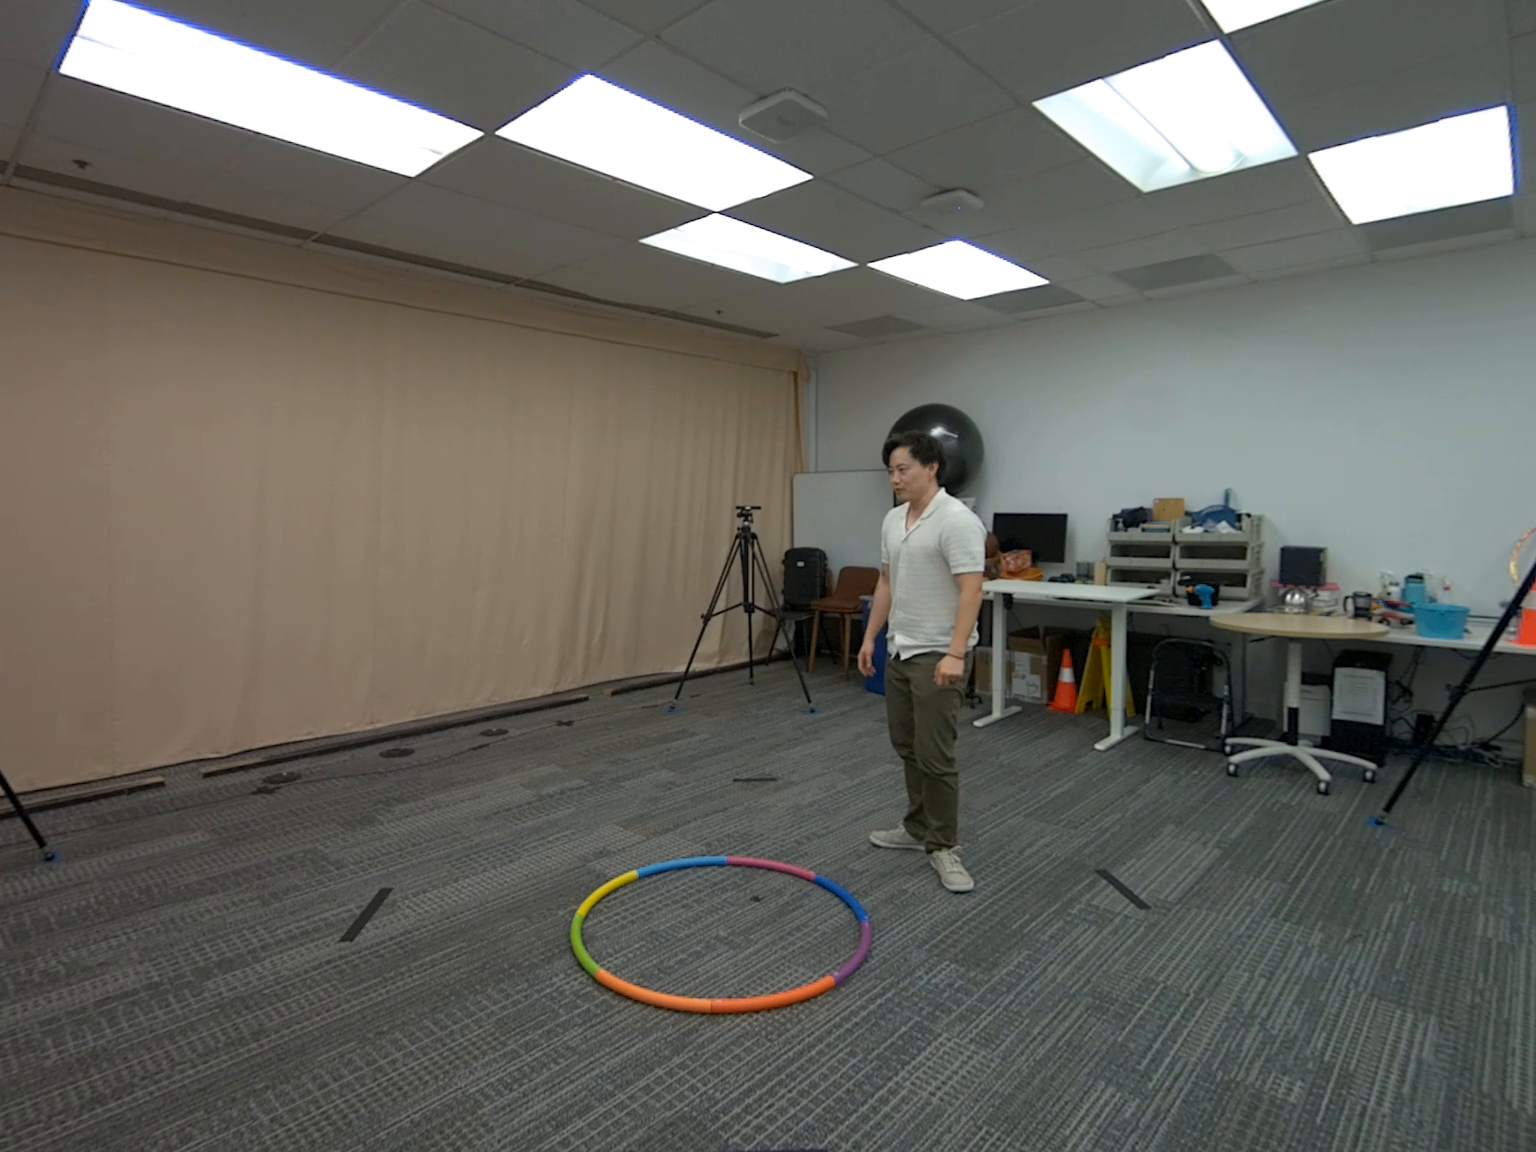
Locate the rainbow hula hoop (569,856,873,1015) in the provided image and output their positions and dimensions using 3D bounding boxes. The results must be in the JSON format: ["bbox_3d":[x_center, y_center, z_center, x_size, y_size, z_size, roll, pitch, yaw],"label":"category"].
[{"bbox_3d":[-0.153,1.134,2.792,0.978,0.035,0.982,0,4,-2],"label":"rainbow hula hoop"}]
